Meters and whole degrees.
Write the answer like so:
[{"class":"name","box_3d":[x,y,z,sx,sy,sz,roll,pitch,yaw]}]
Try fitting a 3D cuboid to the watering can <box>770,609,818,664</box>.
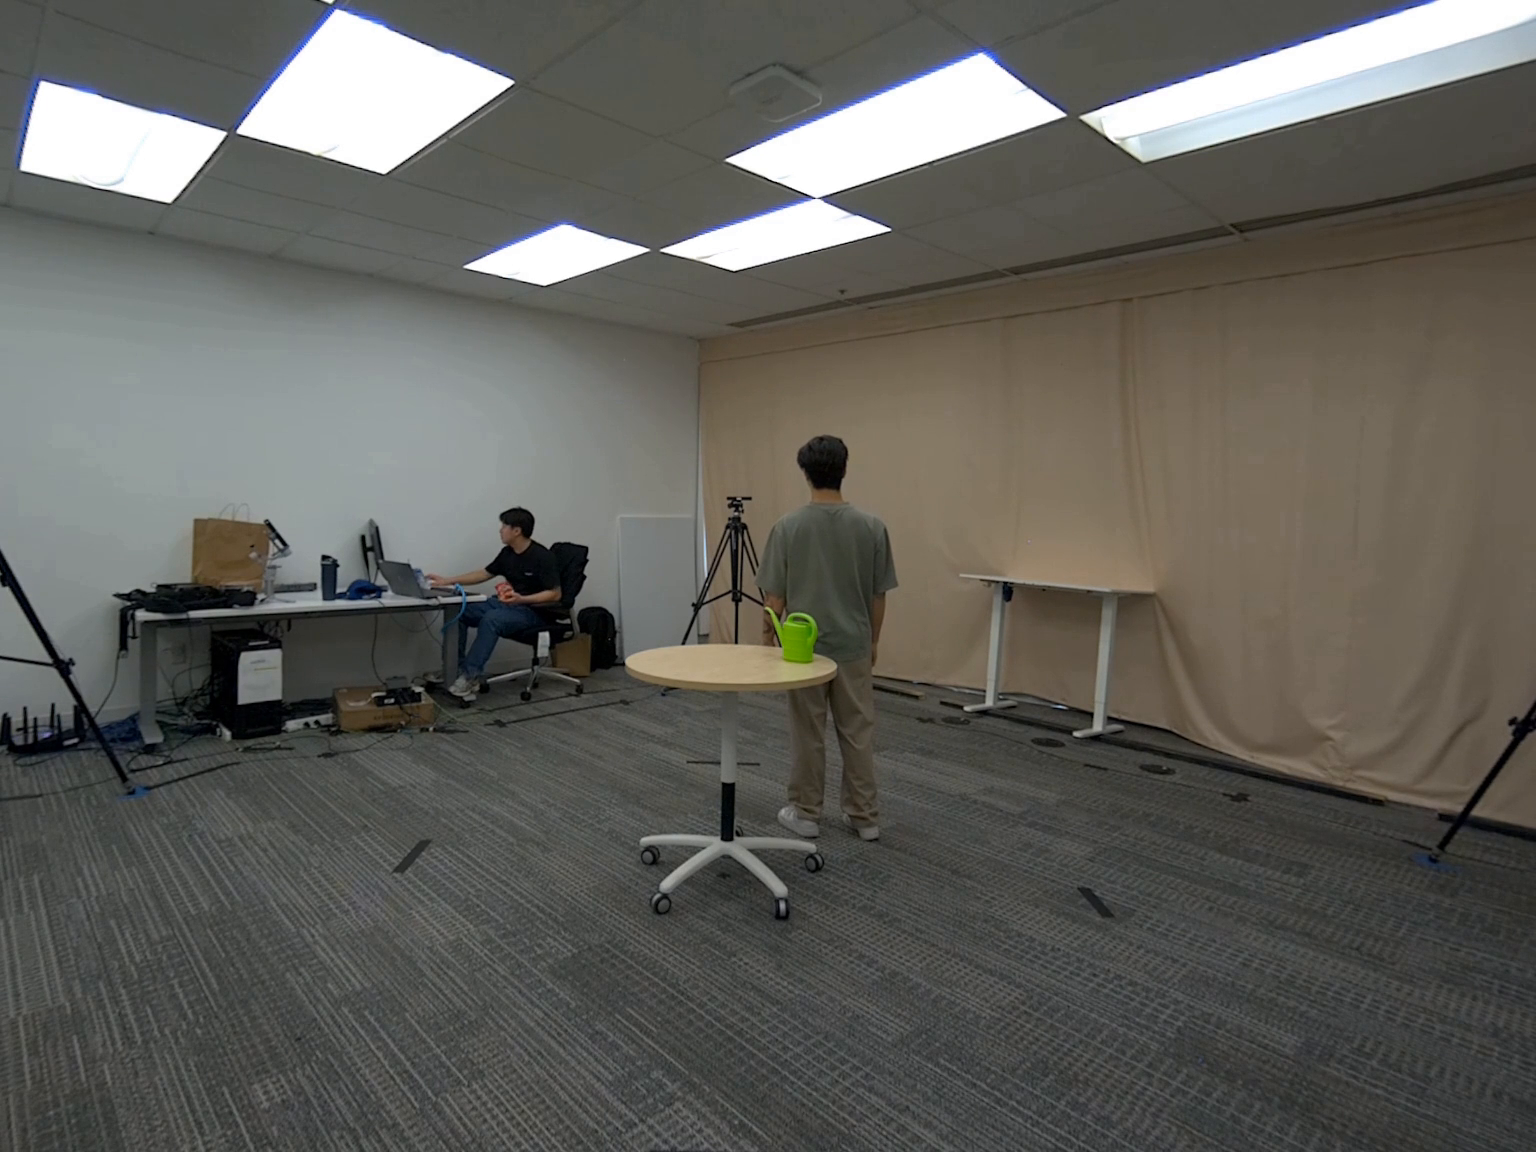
[{"class":"watering can","box_3d":[0.073,0.220,3.149,0.096,0.176,0.284,-2,6,-25]}]
